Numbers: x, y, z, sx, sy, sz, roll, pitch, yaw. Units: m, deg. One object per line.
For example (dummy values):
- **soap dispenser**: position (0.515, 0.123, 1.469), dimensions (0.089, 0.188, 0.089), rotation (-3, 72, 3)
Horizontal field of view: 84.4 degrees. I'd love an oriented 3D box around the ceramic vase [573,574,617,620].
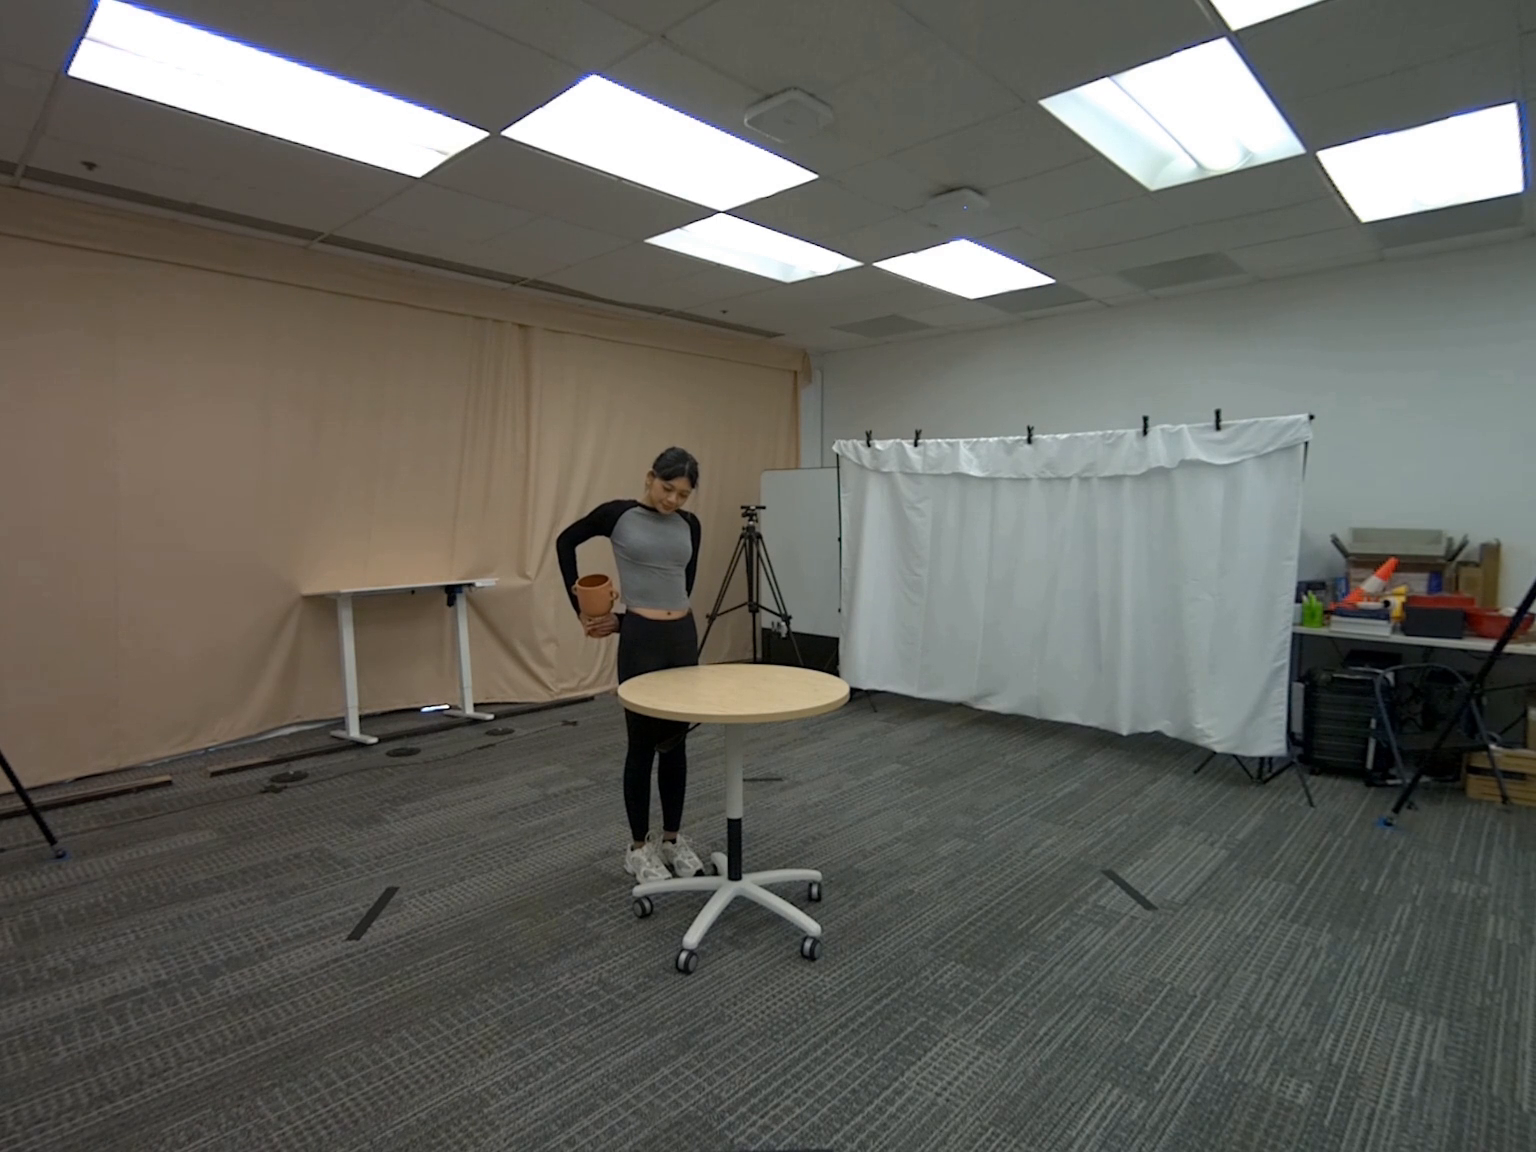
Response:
- **ceramic vase**: position (-0.646, 0.117, 3.214), dimensions (0.132, 0.217, 0.164), rotation (-14, 24, -25)
